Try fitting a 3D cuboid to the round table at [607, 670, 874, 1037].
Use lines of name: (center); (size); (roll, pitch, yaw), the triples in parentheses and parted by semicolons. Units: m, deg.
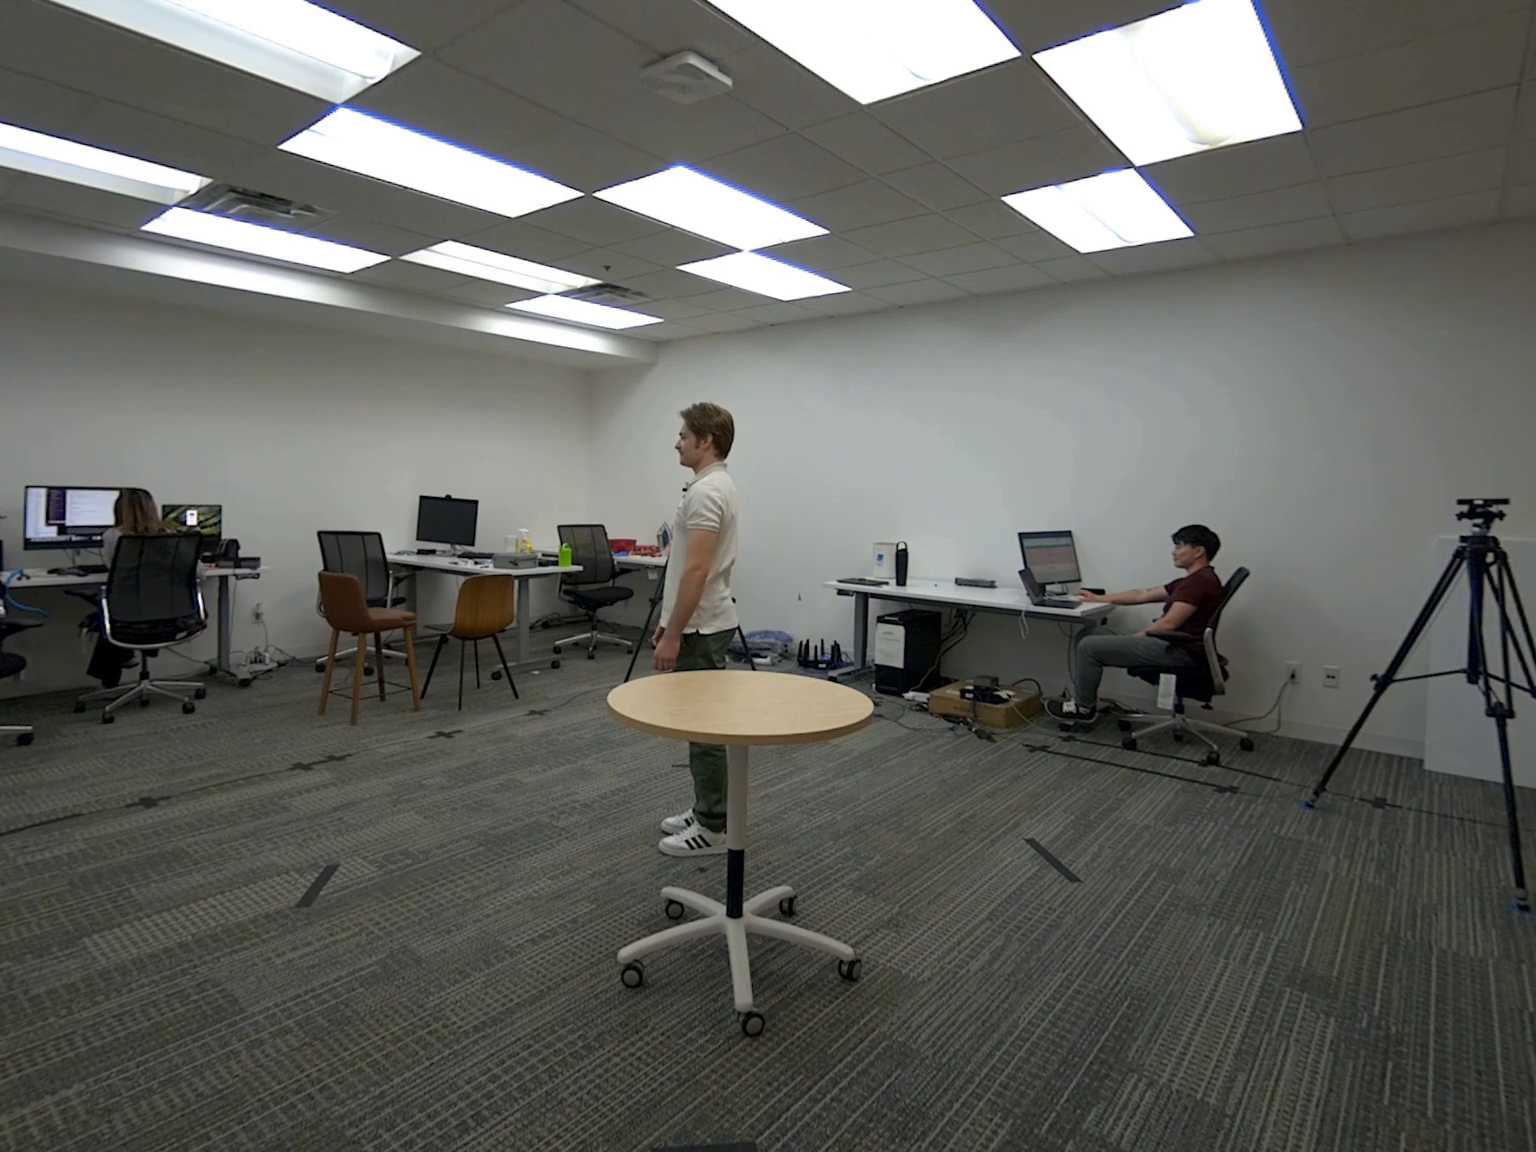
round table: (-0.102, 0.743, 2.492); (0.763, 0.791, 0.768); (1, 4, -2)
